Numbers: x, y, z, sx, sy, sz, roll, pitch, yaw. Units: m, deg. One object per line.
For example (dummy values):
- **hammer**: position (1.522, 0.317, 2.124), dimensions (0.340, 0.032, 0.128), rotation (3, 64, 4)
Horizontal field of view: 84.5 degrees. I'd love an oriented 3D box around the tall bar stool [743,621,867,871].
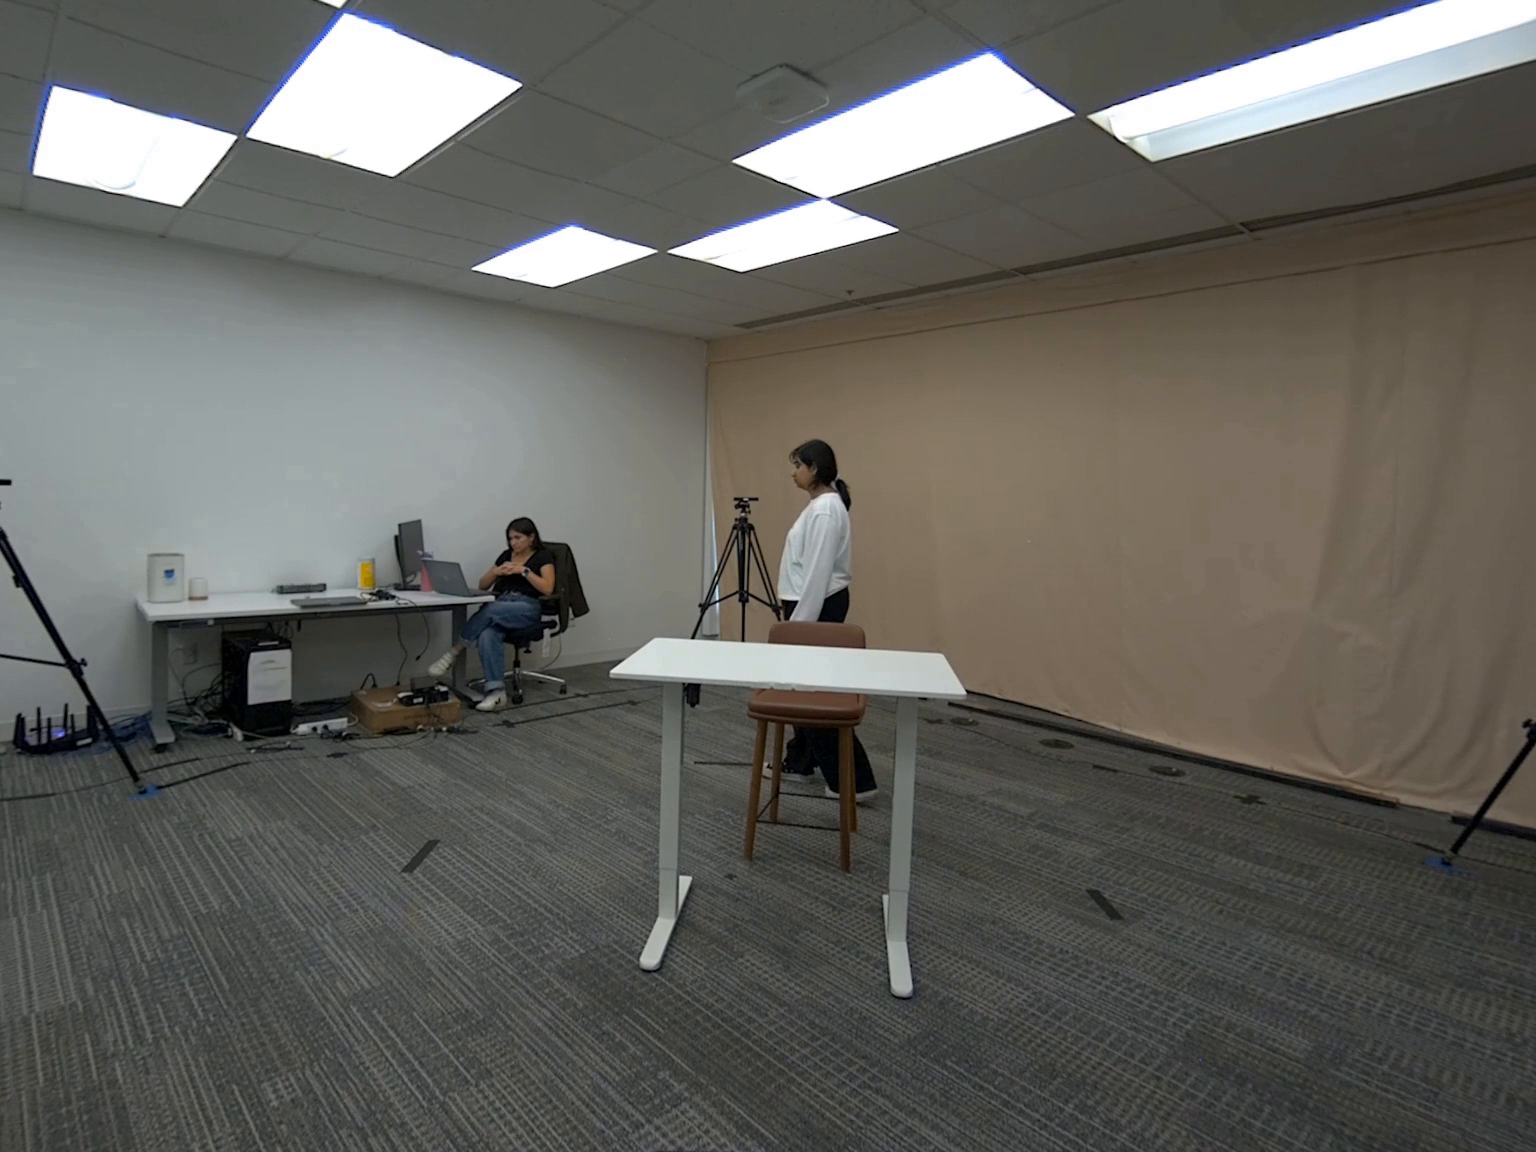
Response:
- **tall bar stool**: position (0.151, 0.651, 3.406), dimensions (0.462, 0.889, 0.462), rotation (2, 1, 14)
